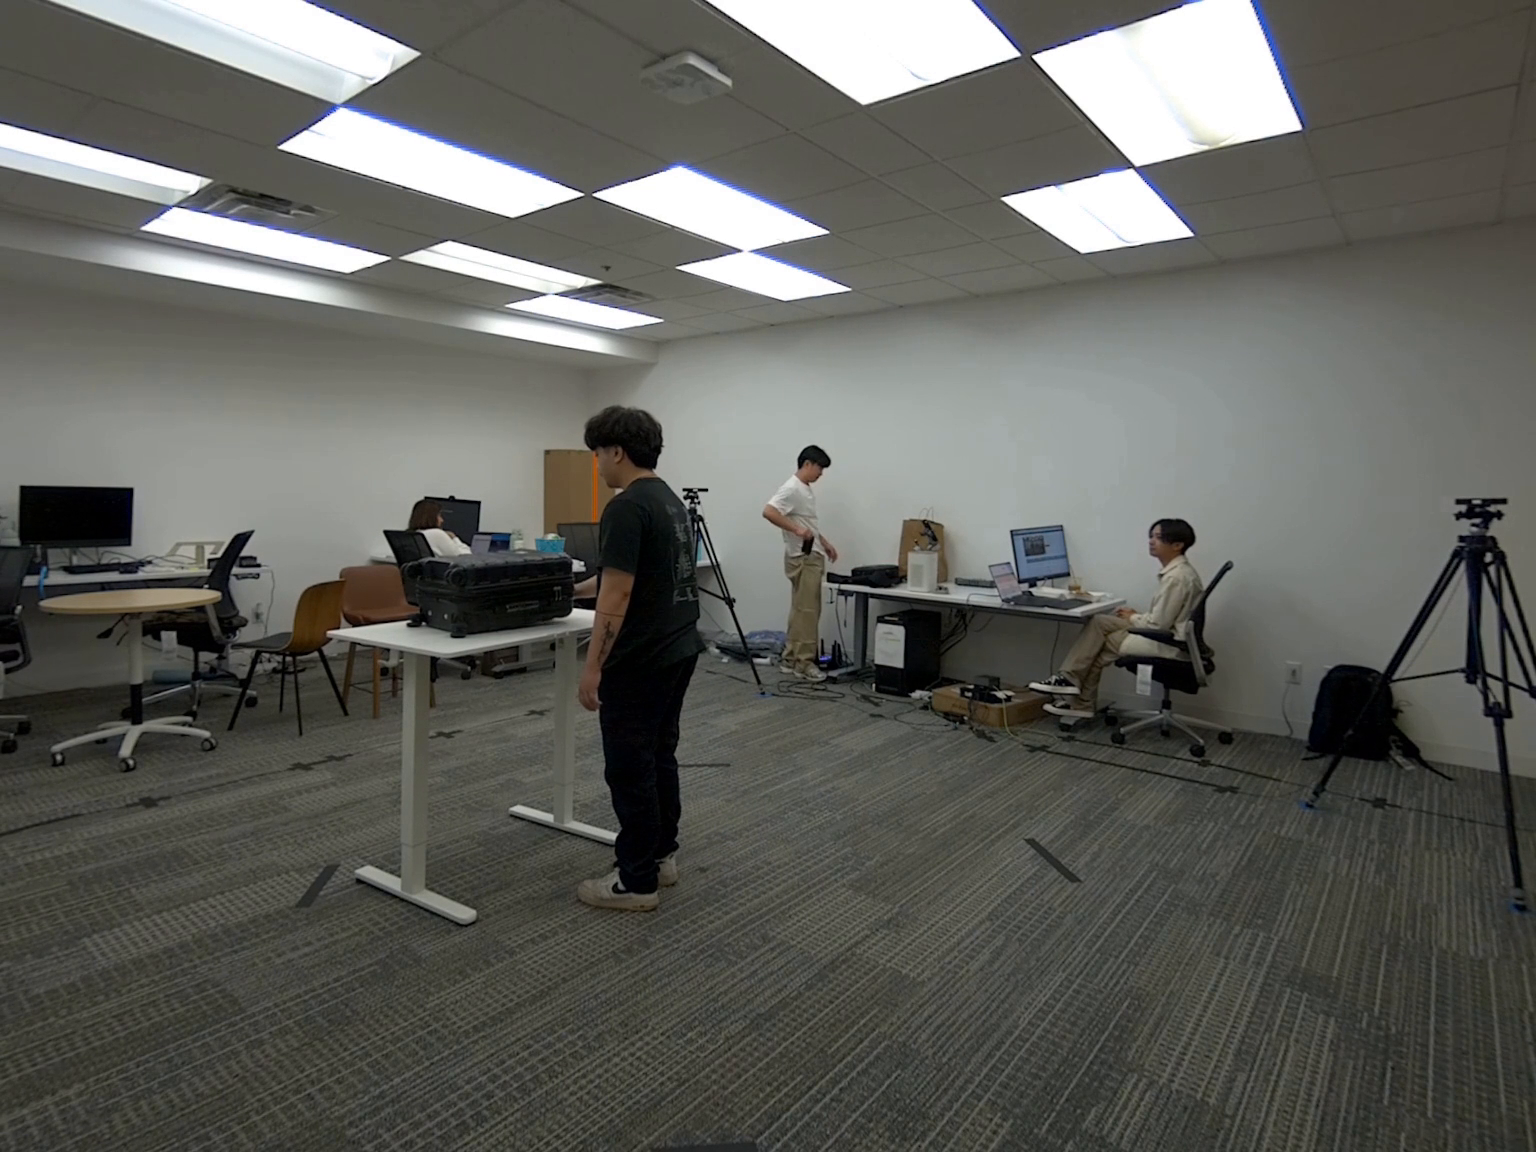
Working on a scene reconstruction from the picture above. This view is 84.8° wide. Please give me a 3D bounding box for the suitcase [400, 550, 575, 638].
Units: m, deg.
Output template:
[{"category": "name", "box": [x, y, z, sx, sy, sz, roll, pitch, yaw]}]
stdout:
[{"category": "suitcase", "box": [-1.020, 0.045, 3.108, 0.388, 0.247, 0.534, 5, 9, 41]}]
